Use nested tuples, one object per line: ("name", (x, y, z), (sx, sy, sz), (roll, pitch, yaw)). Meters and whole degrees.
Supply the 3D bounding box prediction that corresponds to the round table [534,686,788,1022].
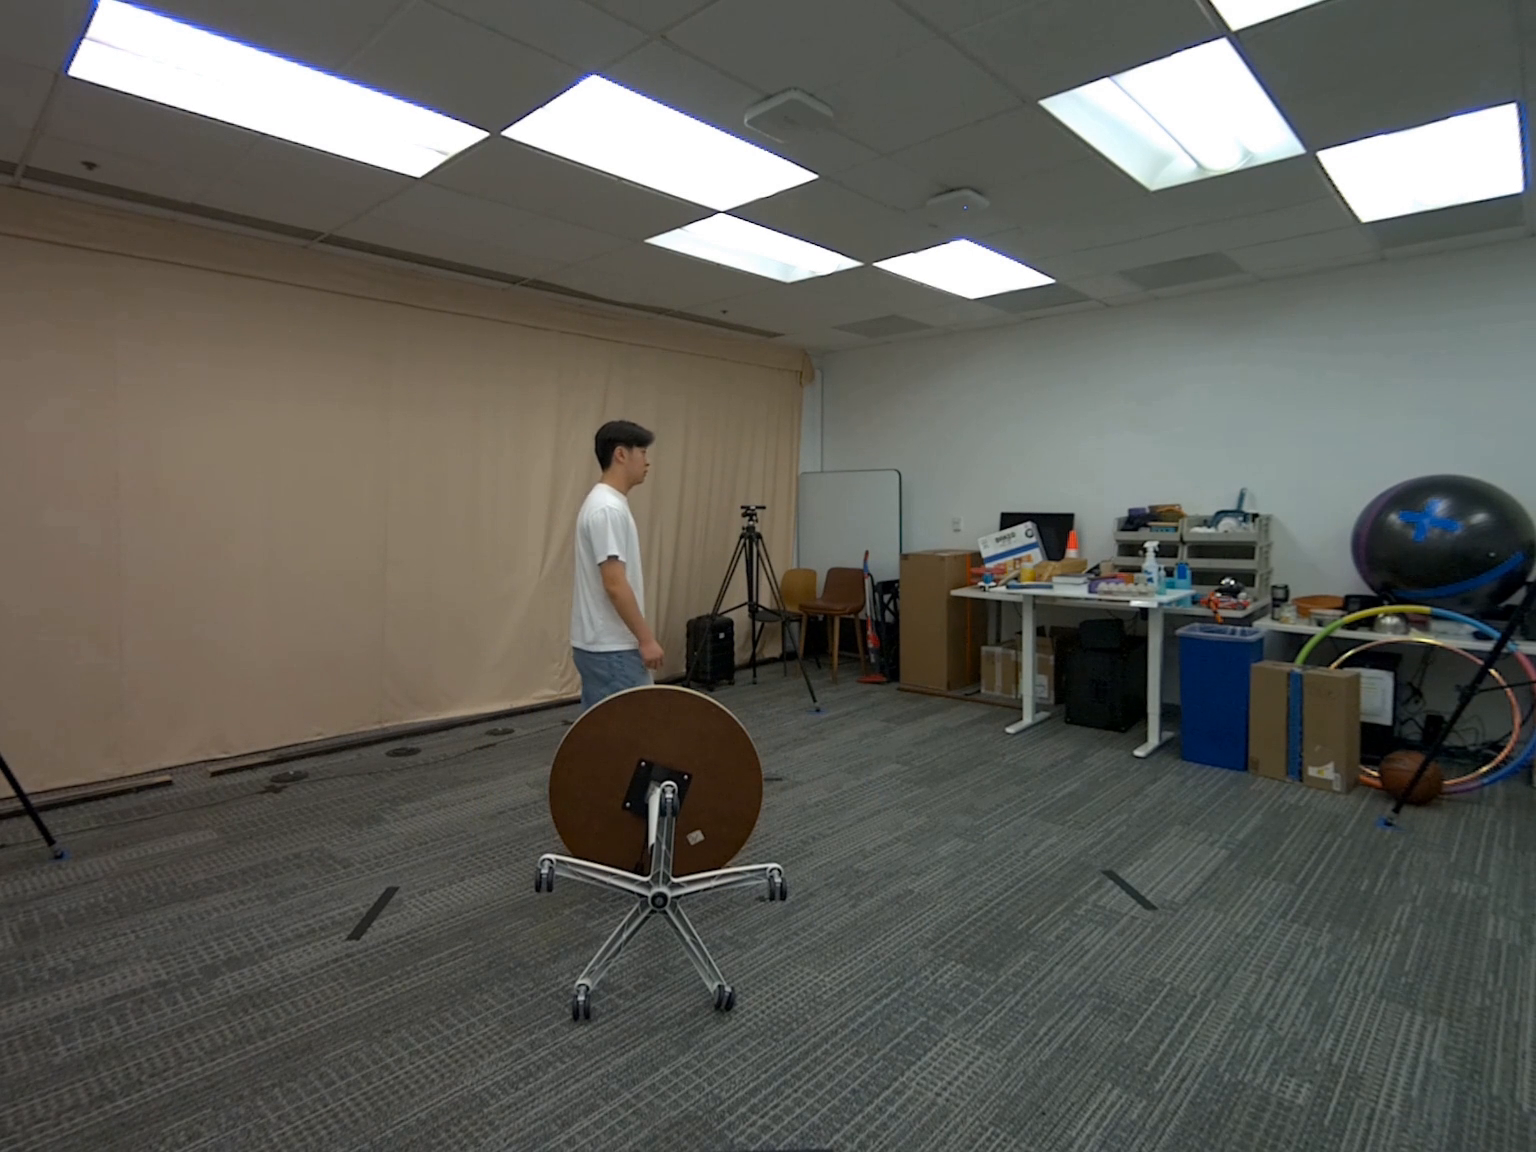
("round table", (-0.332, 0.829, 2.633), (0.780, 0.781, 0.796), (0, 9, -7))
